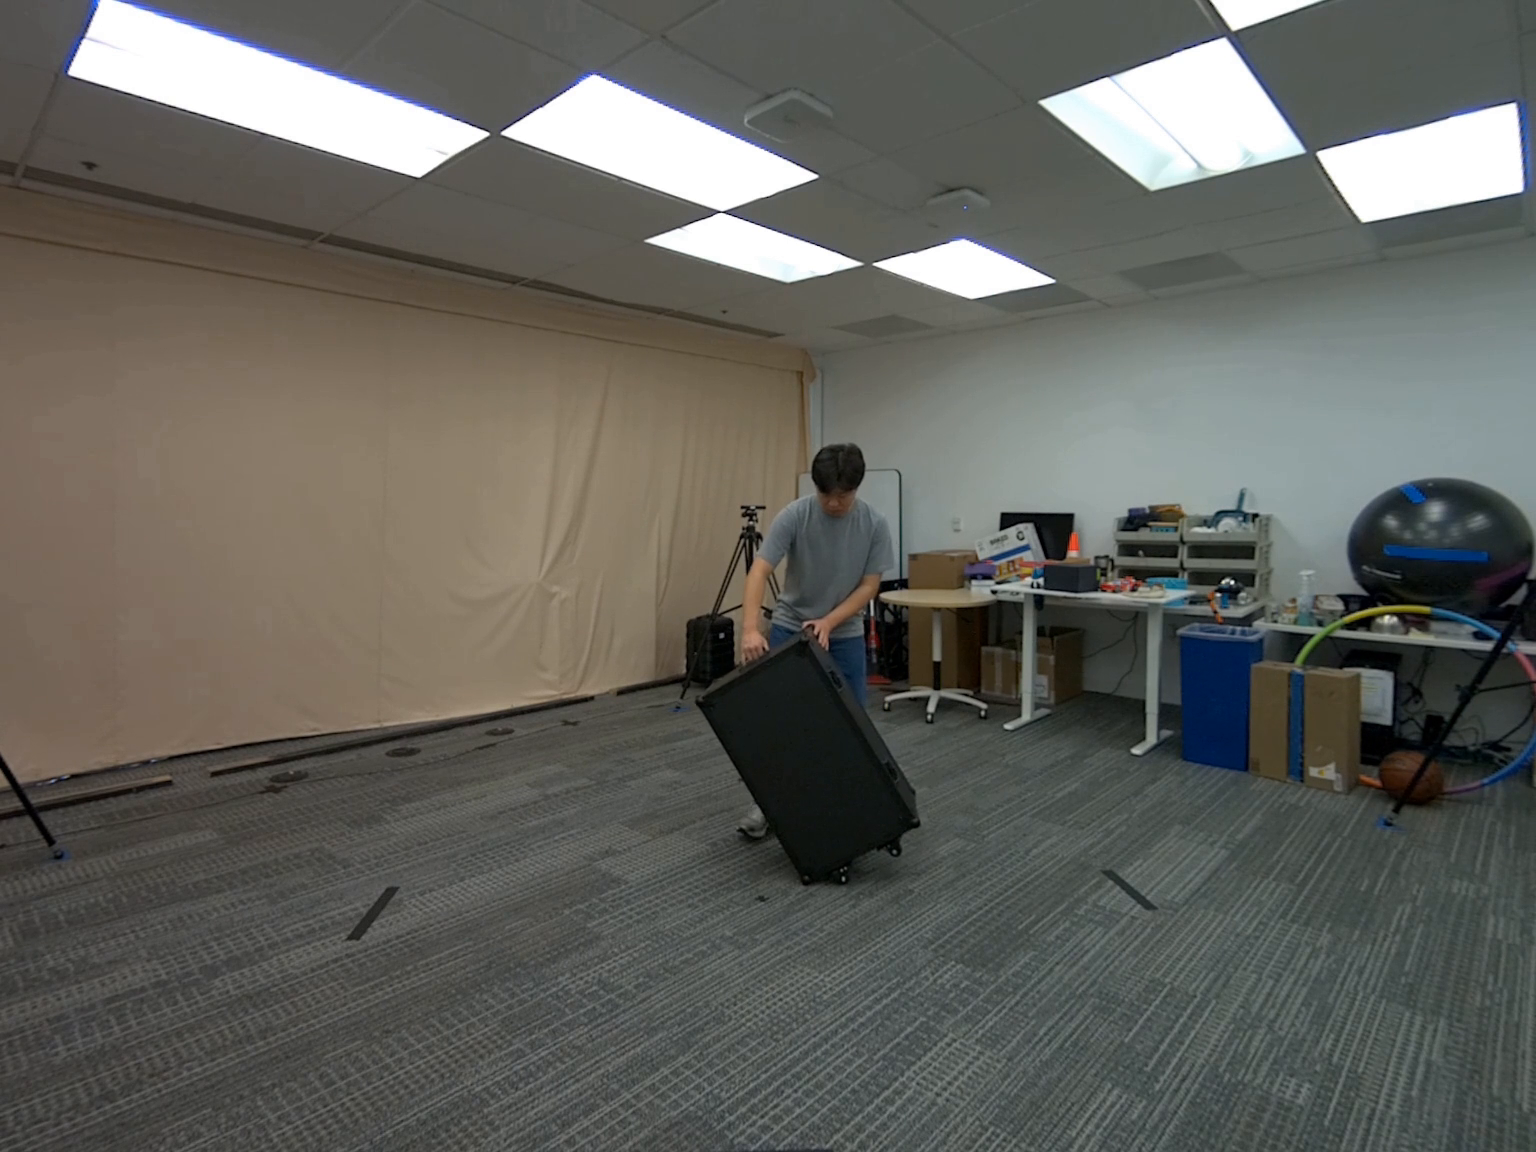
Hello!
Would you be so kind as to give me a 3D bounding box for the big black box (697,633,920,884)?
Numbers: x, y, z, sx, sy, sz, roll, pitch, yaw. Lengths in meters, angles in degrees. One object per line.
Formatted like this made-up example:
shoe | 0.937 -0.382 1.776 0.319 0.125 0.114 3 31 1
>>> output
big black box | 0.175 0.693 3.244 0.524 0.866 0.392 -32 -4 10
